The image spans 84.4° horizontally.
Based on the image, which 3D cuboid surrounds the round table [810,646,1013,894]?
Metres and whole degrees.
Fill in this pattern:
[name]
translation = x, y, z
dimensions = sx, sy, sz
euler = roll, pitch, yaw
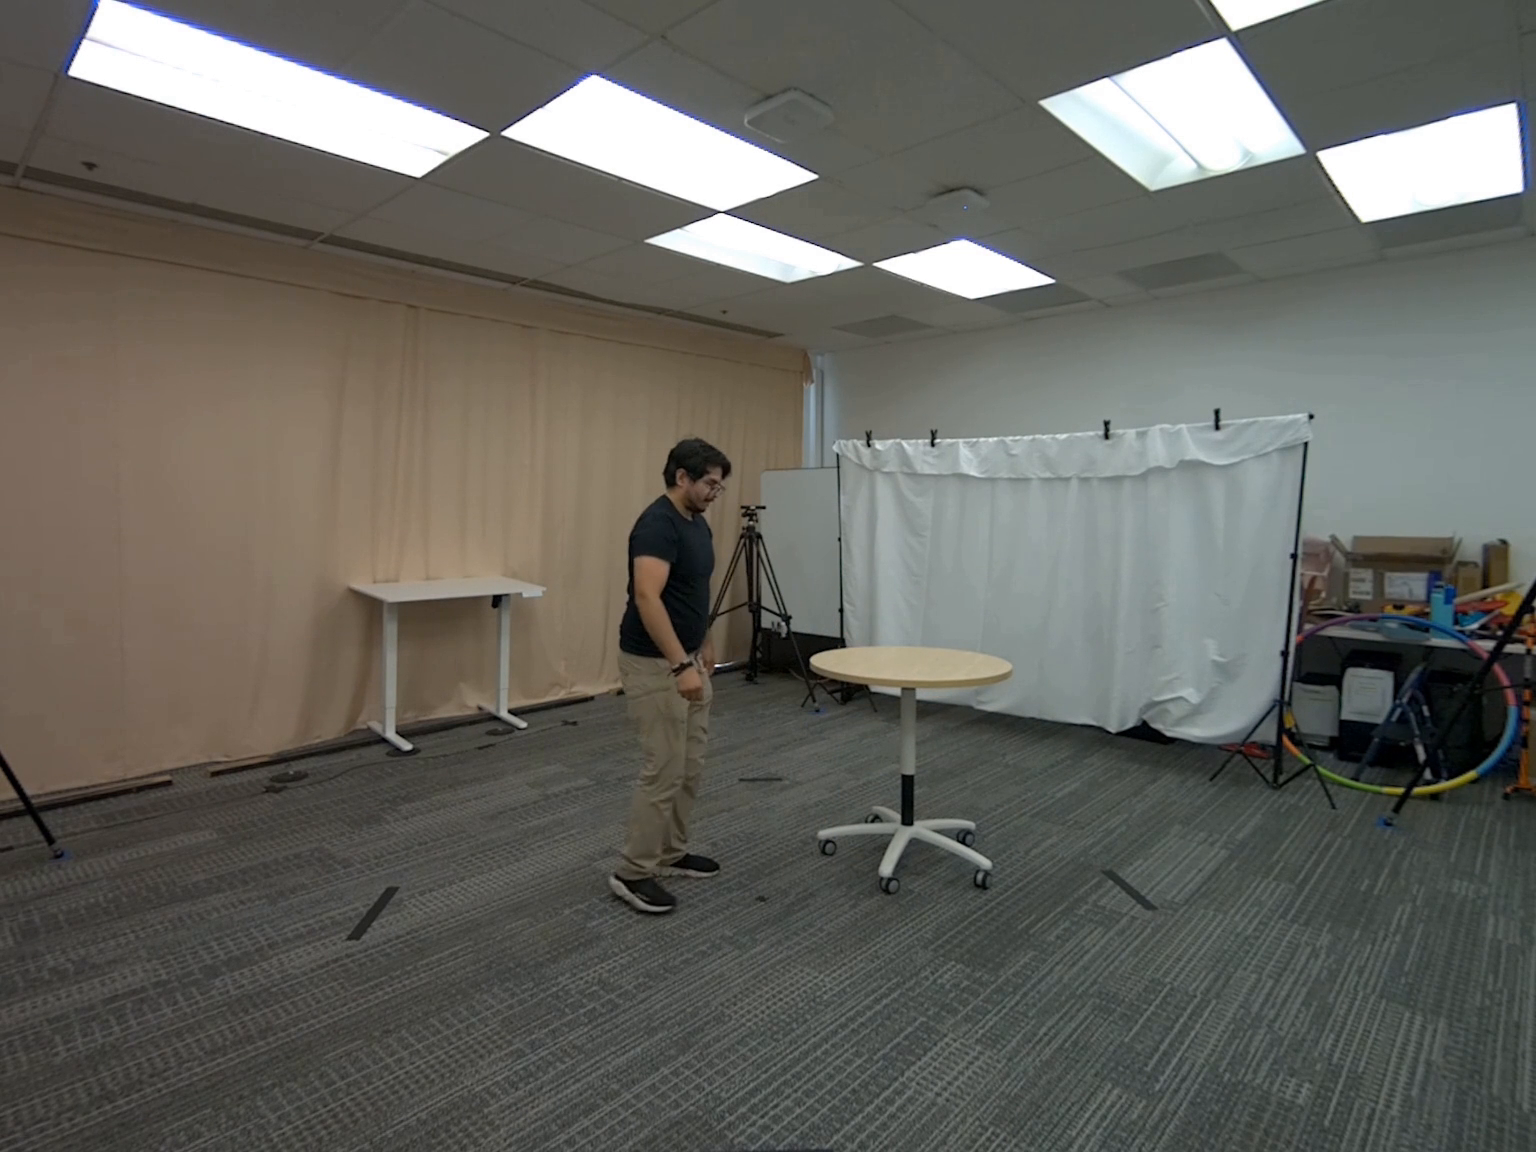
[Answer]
[round table]
translation = 0.561, 0.728, 3.277
dimensions = 0.784, 0.785, 0.787
euler = -1, 3, -2
